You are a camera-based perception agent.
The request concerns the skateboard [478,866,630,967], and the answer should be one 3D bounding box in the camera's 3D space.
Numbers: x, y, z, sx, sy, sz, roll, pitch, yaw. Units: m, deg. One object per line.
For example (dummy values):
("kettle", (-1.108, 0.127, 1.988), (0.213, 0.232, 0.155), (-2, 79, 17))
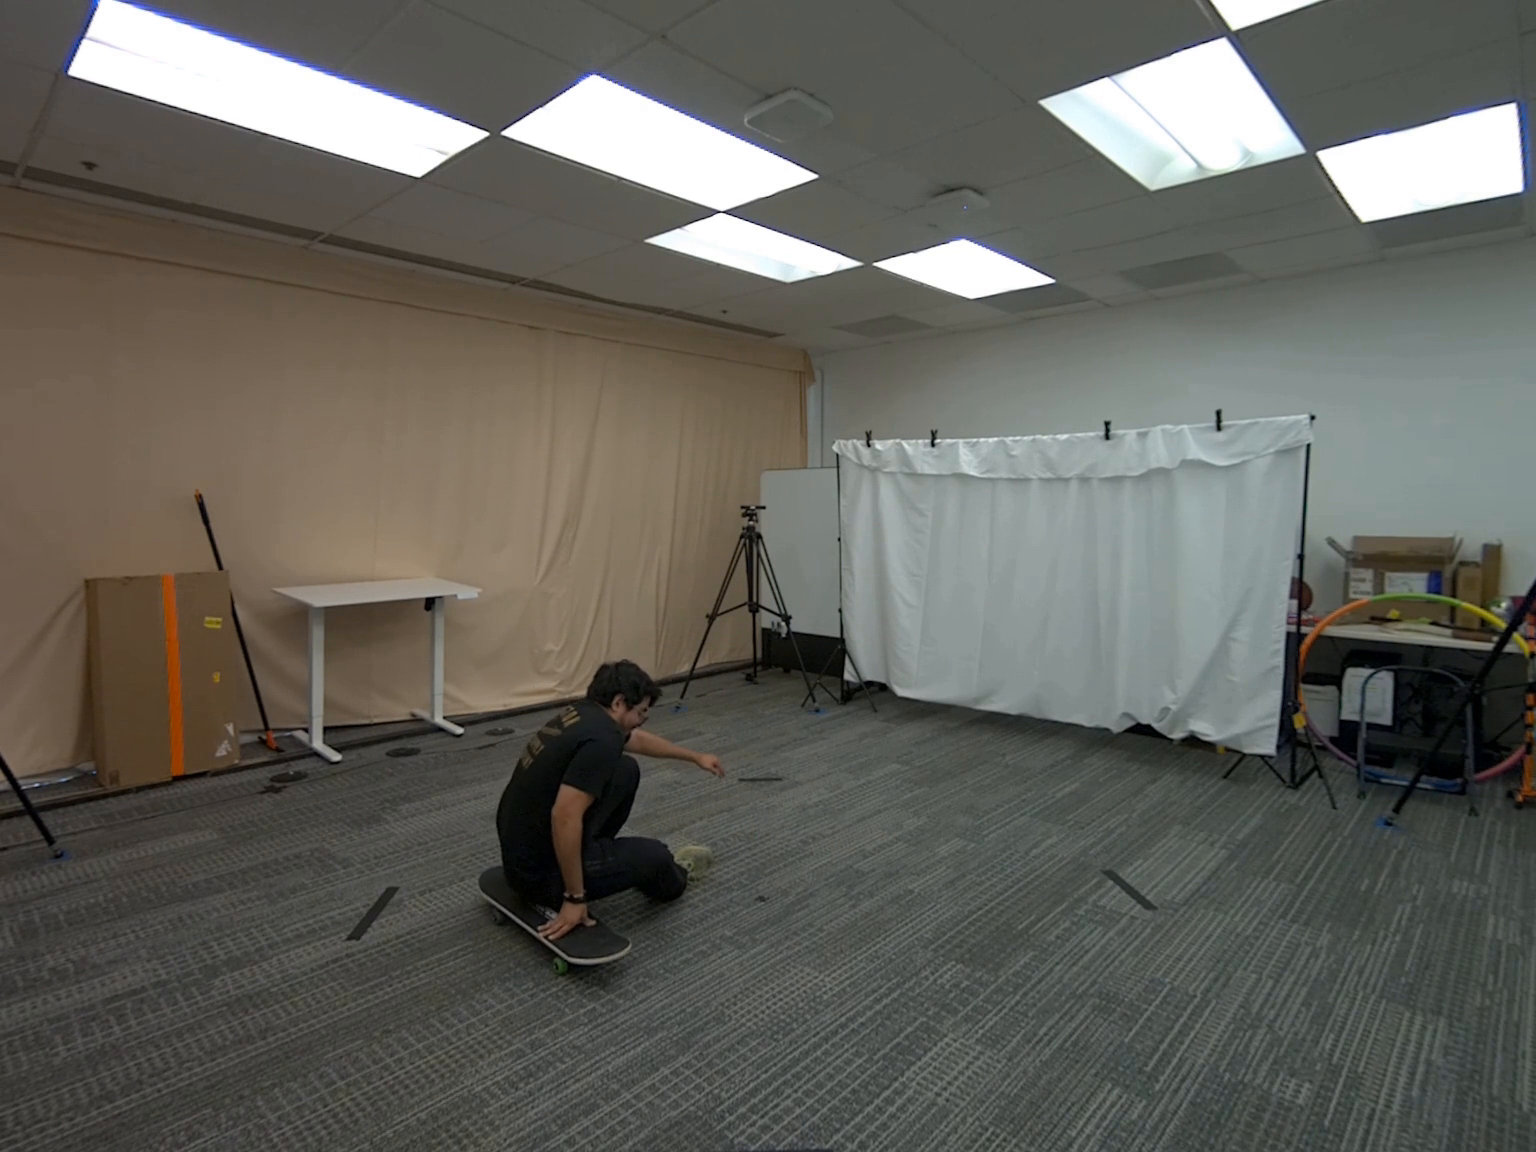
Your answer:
("skateboard", (-0.705, 1.113, 2.716), (0.187, 0.110, 0.811), (-4, 5, -42))
